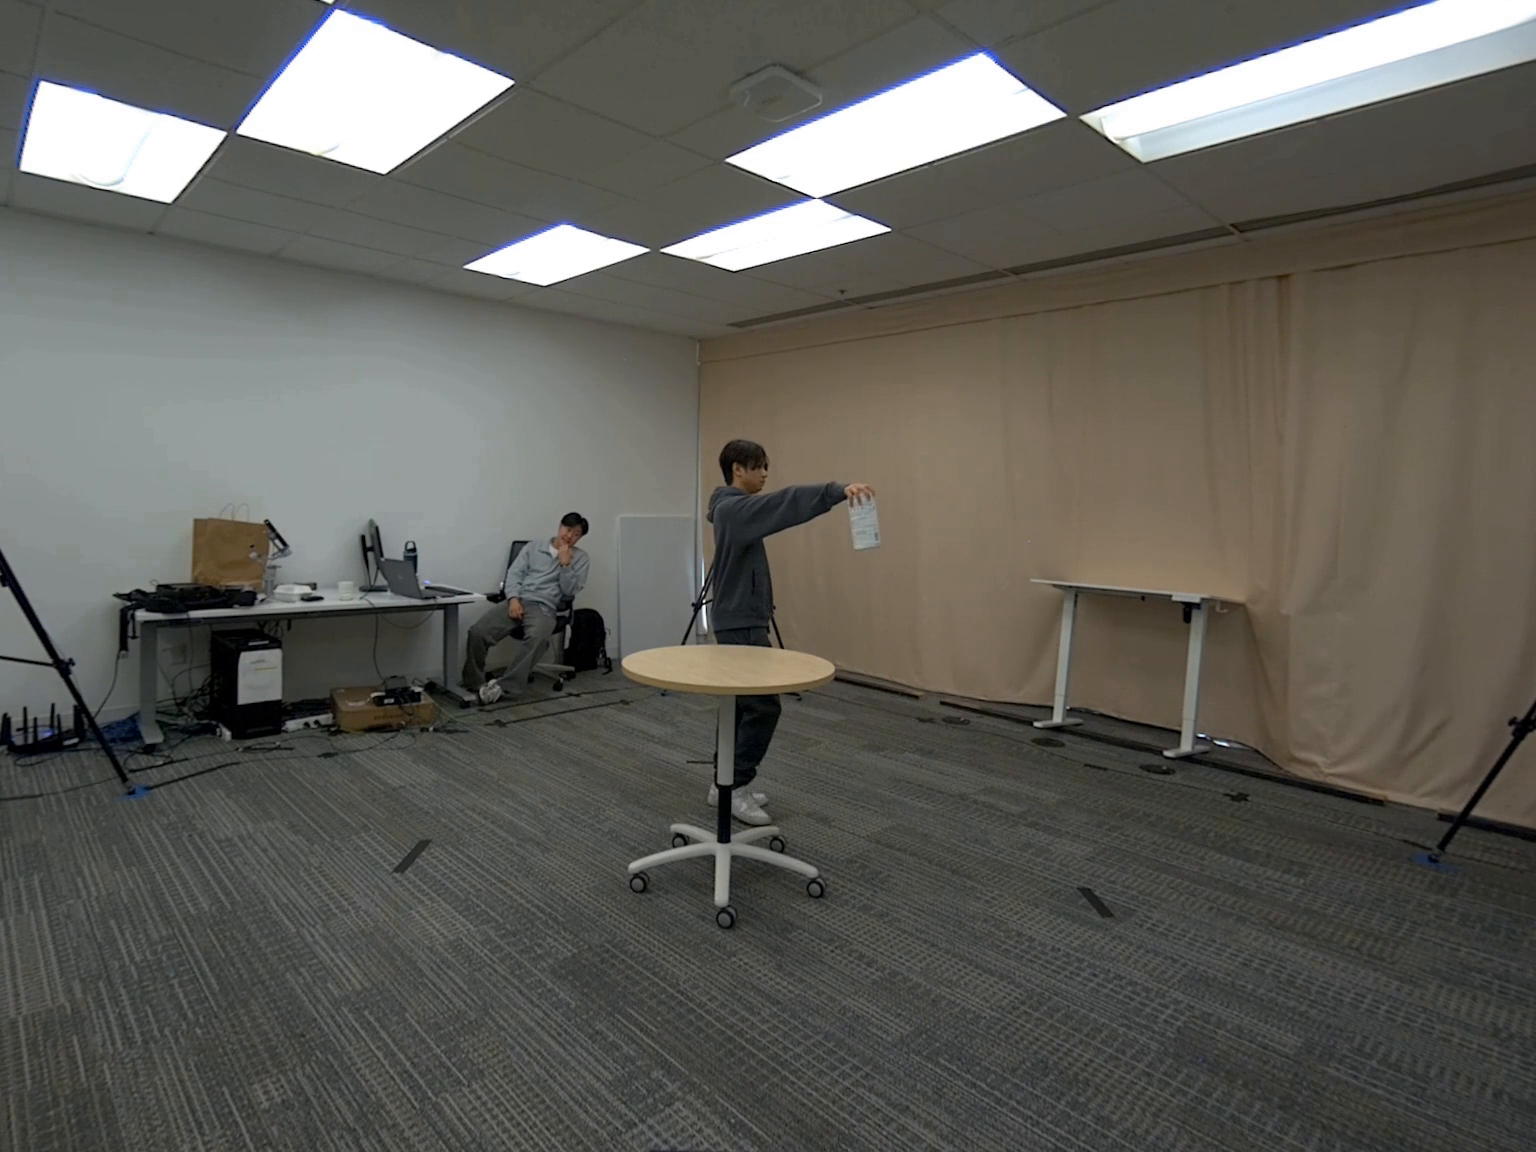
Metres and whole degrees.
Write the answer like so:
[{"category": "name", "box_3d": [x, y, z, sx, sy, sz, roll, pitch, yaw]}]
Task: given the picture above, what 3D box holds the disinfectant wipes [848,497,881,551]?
[{"category": "disinfectant wipes", "box_3d": [0.374, -0.212, 3.303, 0.118, 0.217, 0.118, -7, 0, -1]}]
